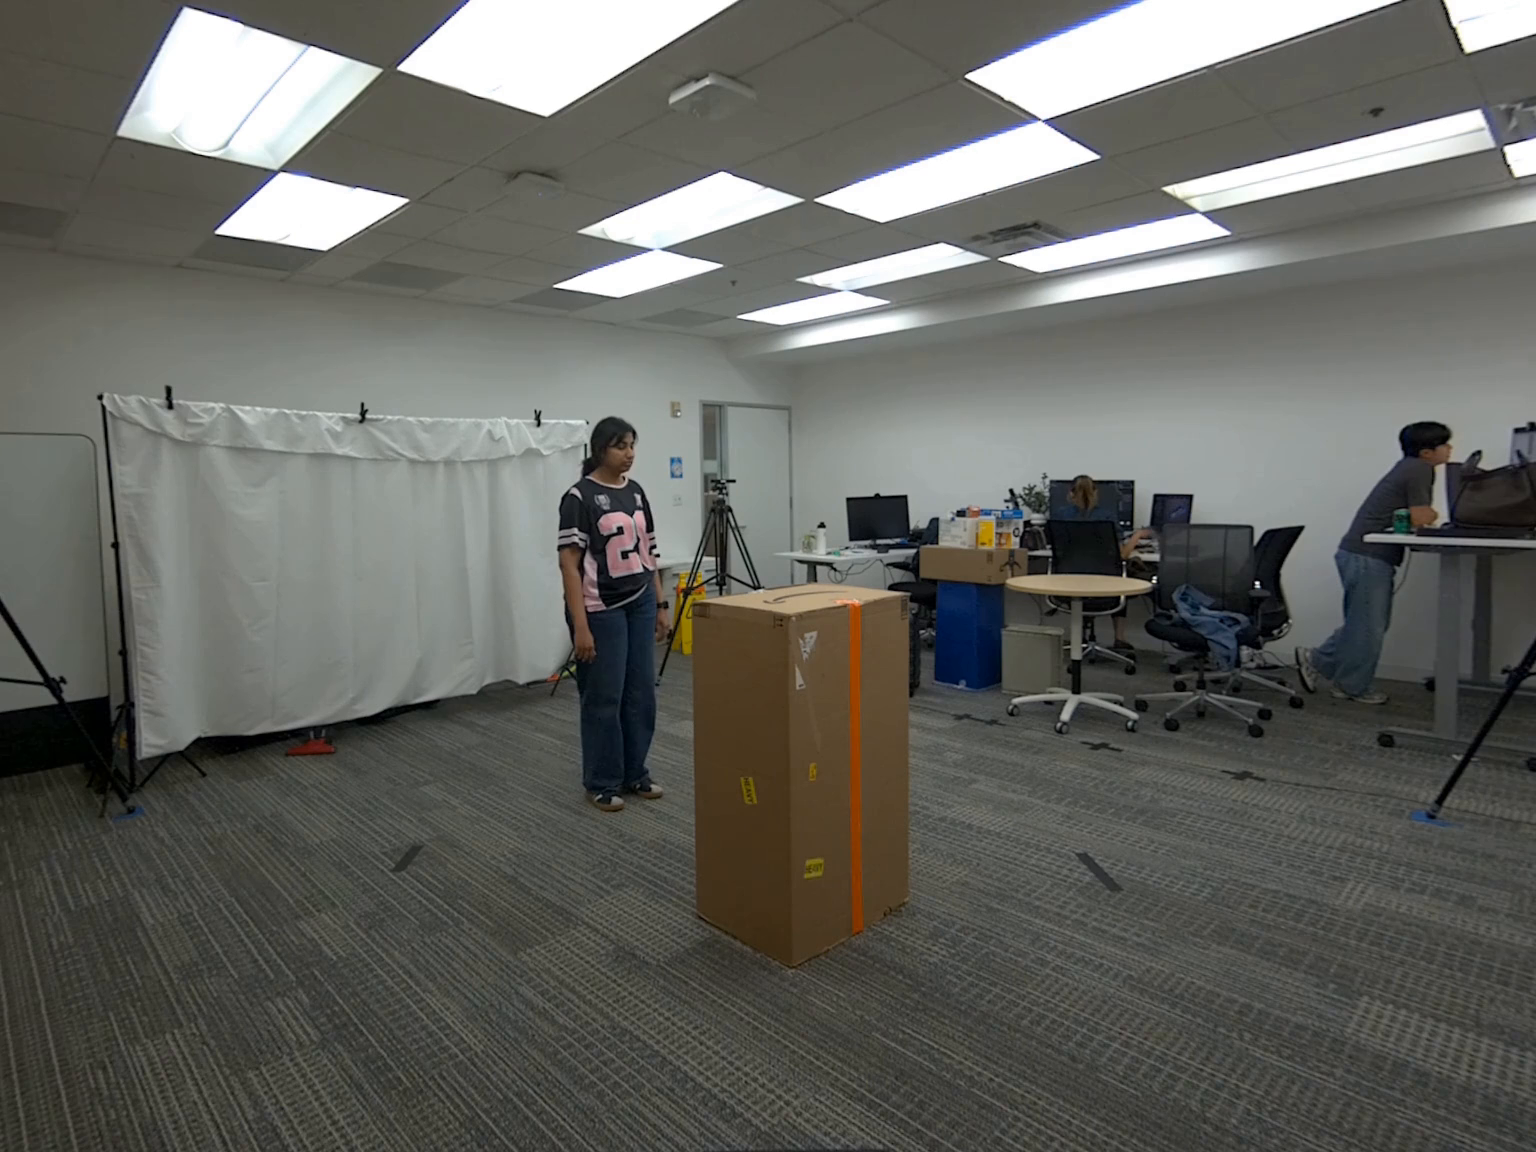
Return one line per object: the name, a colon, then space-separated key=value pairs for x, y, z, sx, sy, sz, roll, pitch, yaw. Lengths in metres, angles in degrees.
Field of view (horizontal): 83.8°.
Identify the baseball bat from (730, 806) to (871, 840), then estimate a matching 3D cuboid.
baseball bat: x=0.126 y=0.978 z=3.403 sx=0.538 sy=0.089 sz=0.090 roll=1 pitch=4 yaw=-9
